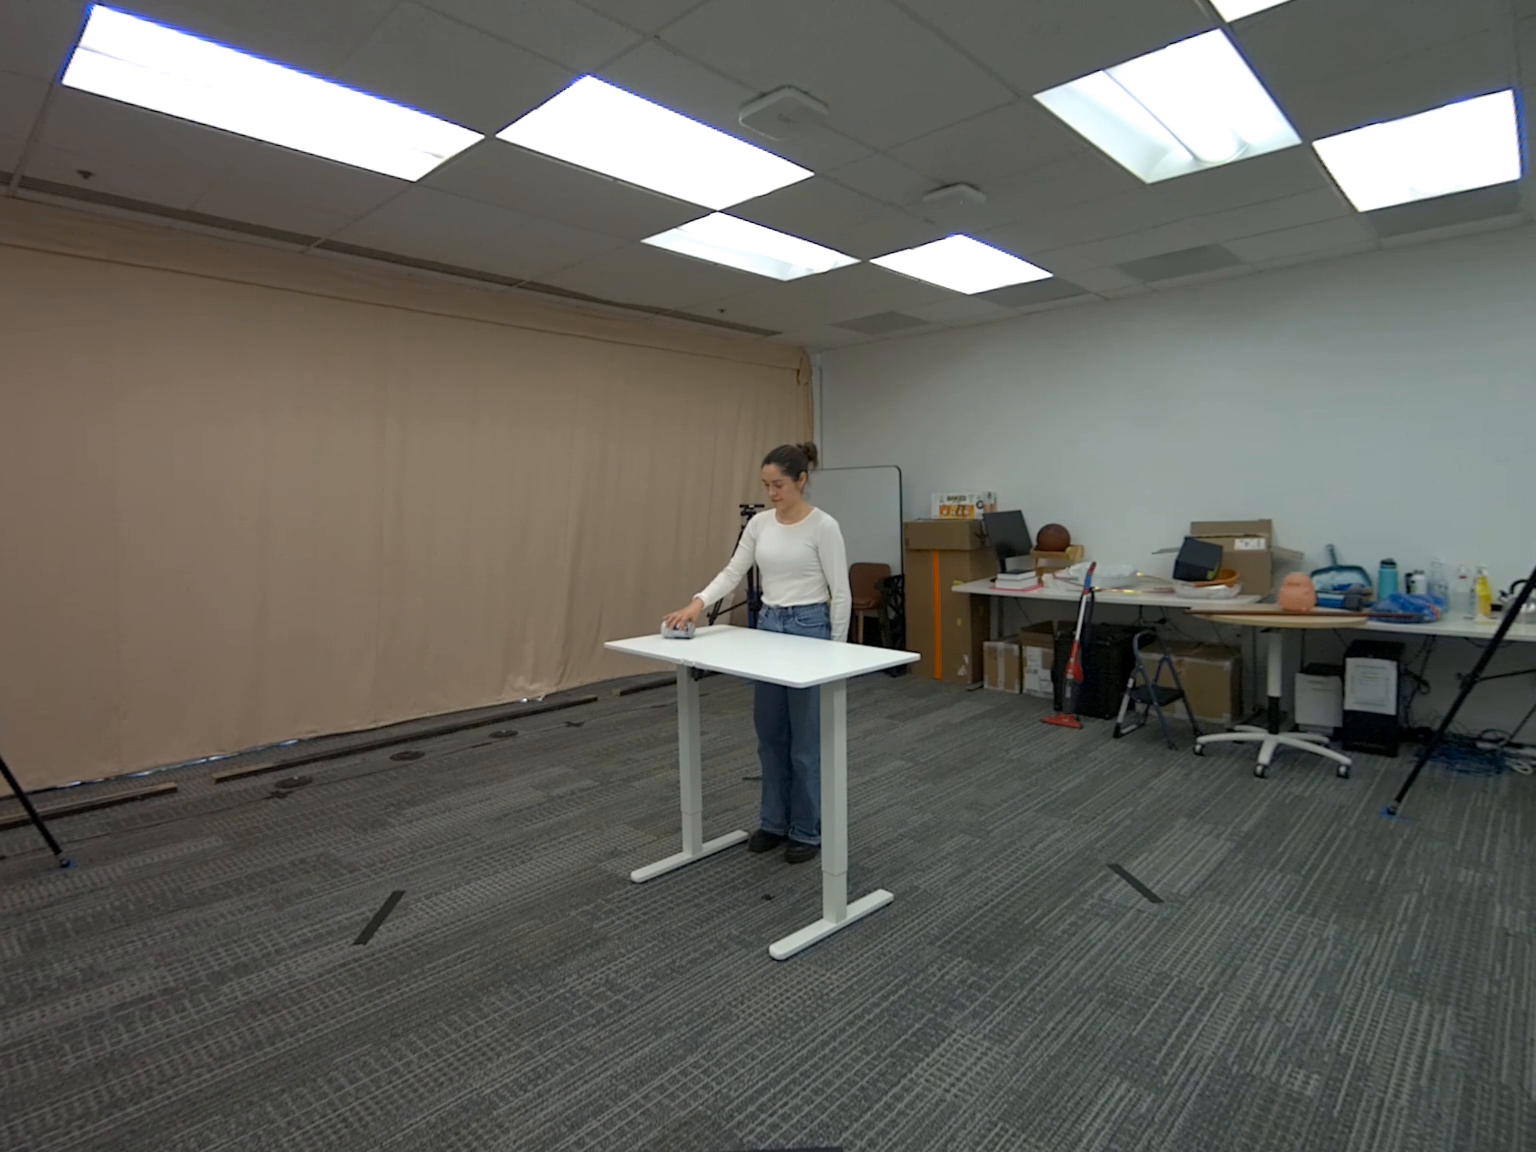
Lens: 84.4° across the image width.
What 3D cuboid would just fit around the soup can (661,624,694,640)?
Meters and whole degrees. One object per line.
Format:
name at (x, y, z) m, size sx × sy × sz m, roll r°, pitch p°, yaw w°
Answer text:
soup can at (-0.340, 0.206, 3.226) m, size 0.123 × 0.067 × 0.066 m, roll 1°, pitch 4°, yaw 14°
